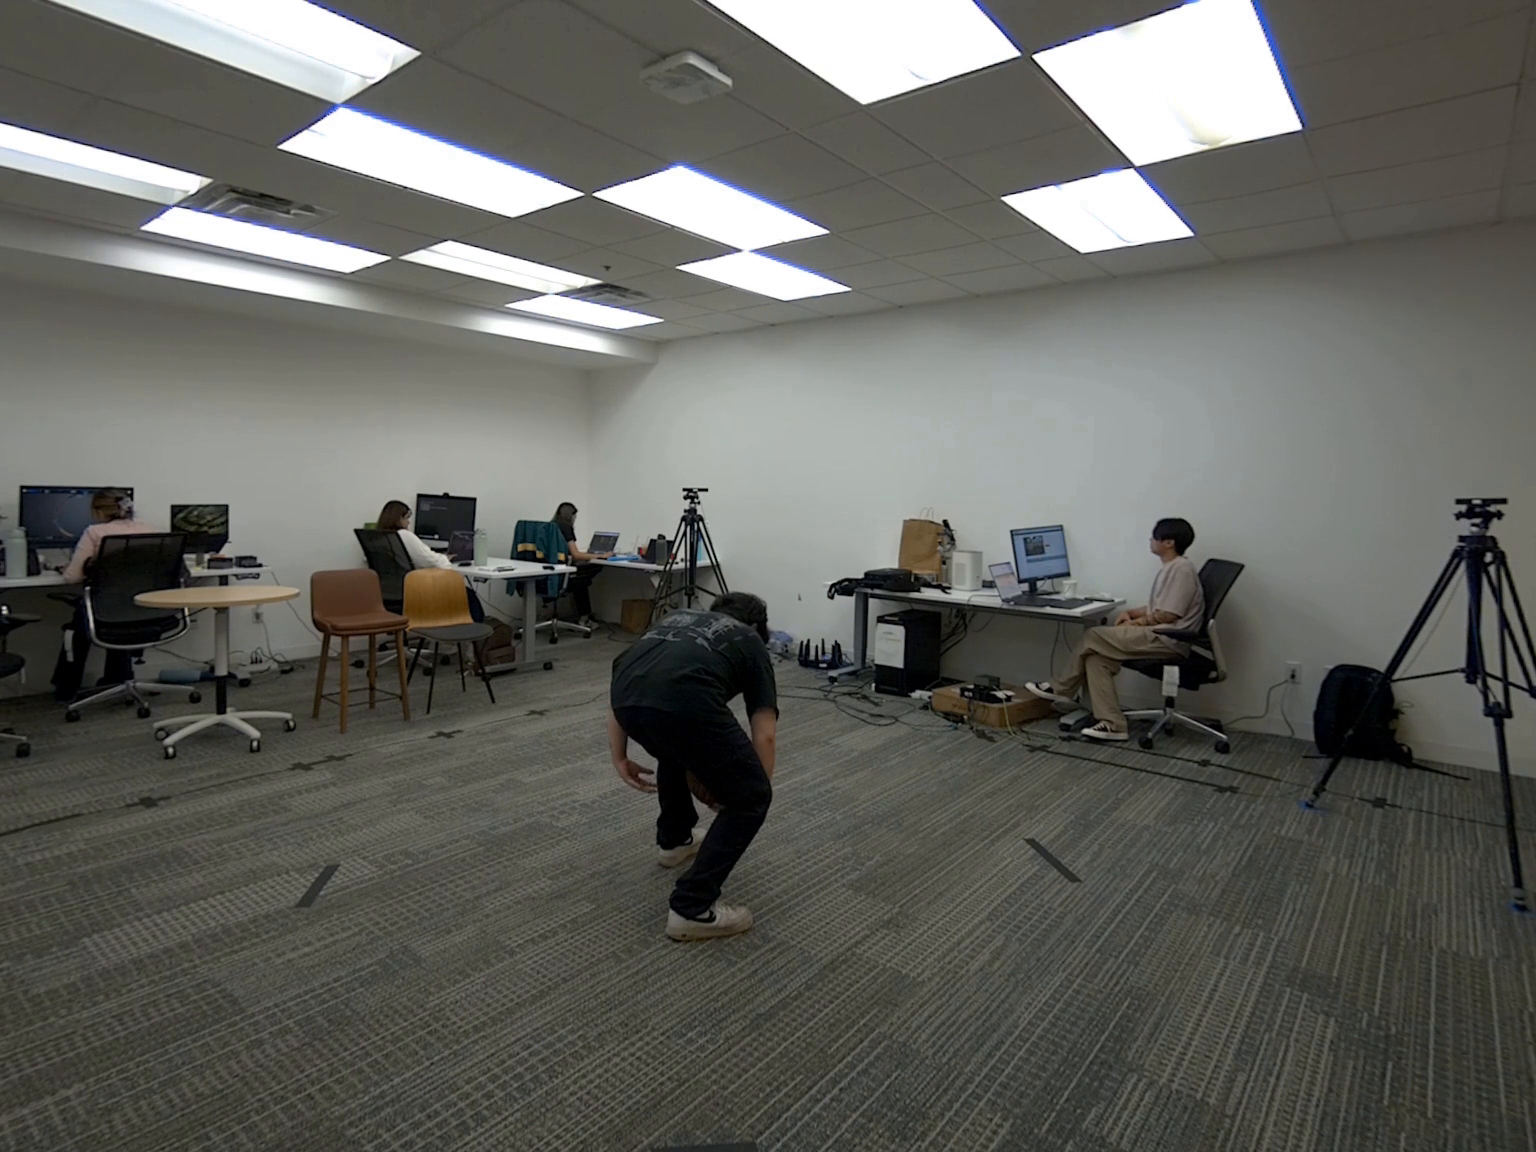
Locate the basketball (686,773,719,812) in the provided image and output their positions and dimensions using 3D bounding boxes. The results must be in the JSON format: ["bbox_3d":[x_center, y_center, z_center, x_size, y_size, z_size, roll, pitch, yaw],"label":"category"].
[{"bbox_3d":[-0.176,0.685,2.966,0.235,0.235,0.237,1,4,-2],"label":"basketball"}]
